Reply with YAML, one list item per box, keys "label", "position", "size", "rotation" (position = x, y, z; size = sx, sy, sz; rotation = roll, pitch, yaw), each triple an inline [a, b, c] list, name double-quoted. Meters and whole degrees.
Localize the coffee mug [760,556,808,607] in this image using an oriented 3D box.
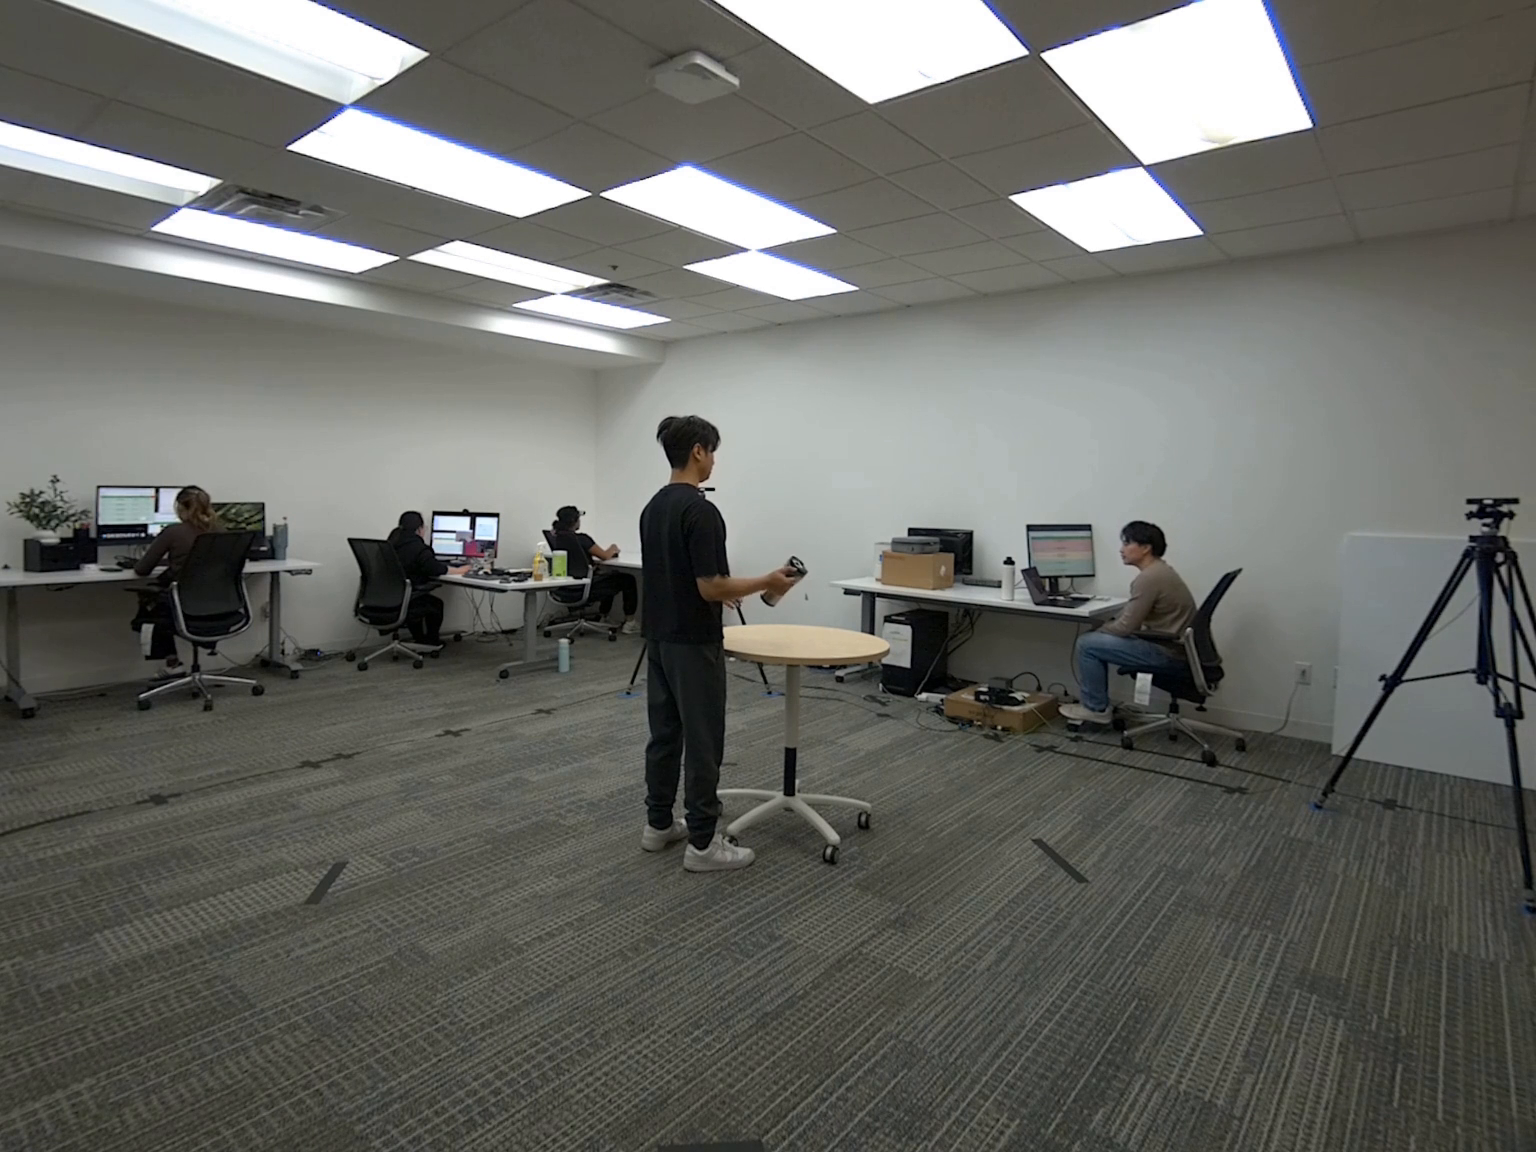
- label: "coffee mug"
  position: [0.027, 0.022, 3.197]
  size: [0.117, 0.203, 0.091]
  rotation: [17, 32, -54]
